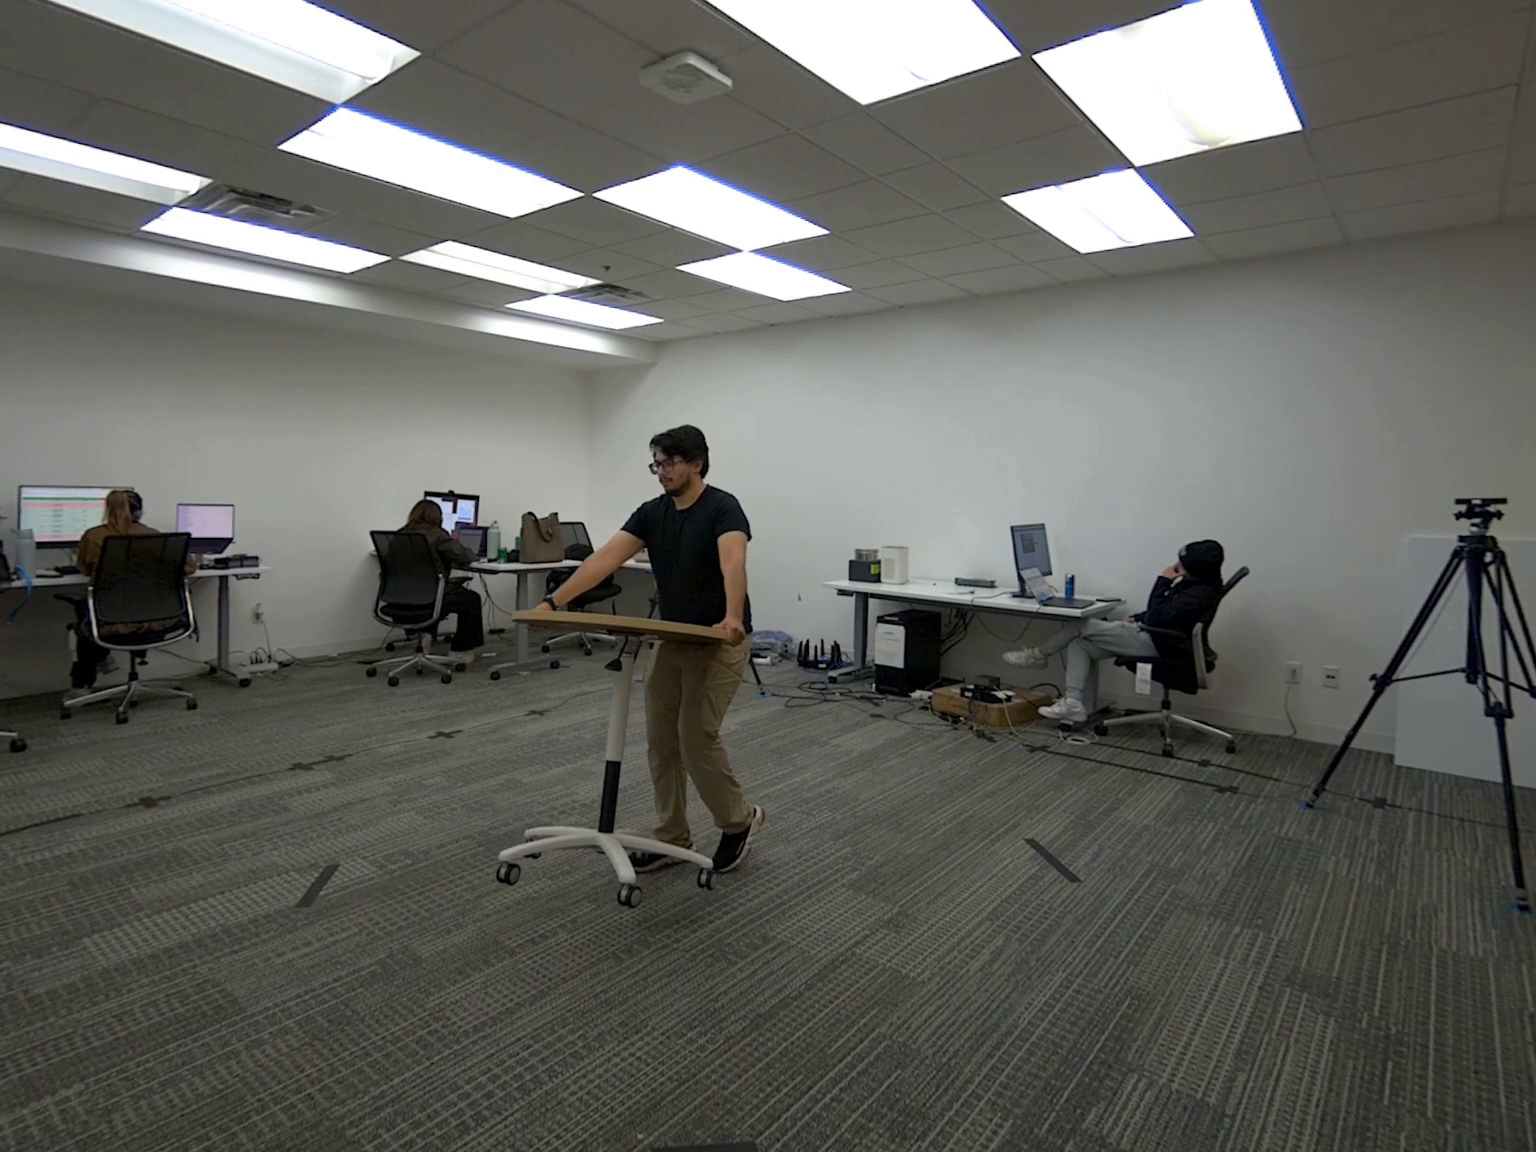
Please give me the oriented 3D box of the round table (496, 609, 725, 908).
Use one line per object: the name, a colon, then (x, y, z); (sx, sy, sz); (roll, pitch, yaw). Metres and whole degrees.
round table: (-0.492, 0.562, 2.749); (0.785, 0.793, 0.779); (6, -8, -1)
